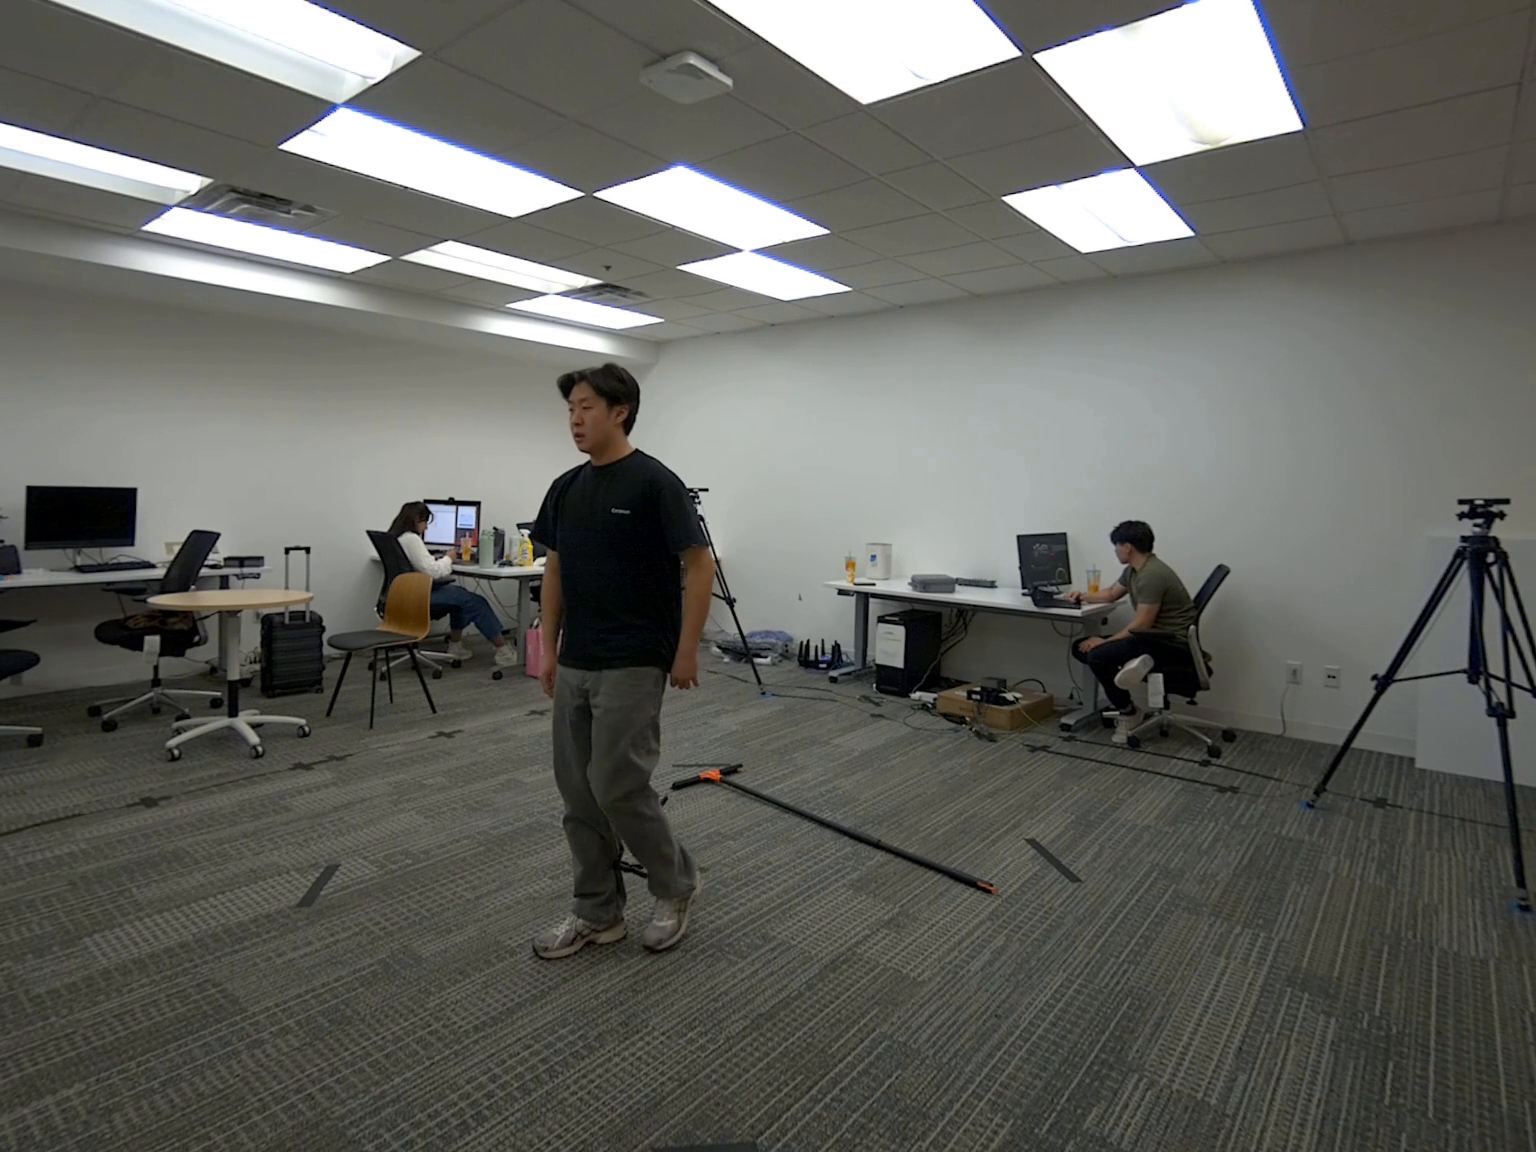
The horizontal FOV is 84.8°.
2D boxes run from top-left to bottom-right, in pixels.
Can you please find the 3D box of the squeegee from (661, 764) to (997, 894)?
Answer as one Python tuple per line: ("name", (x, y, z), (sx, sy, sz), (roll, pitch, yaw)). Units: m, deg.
("squeegee", (0.236, 0.996, 3.521), (0.425, 0.053, 1.591), (-6, 9, -44))
